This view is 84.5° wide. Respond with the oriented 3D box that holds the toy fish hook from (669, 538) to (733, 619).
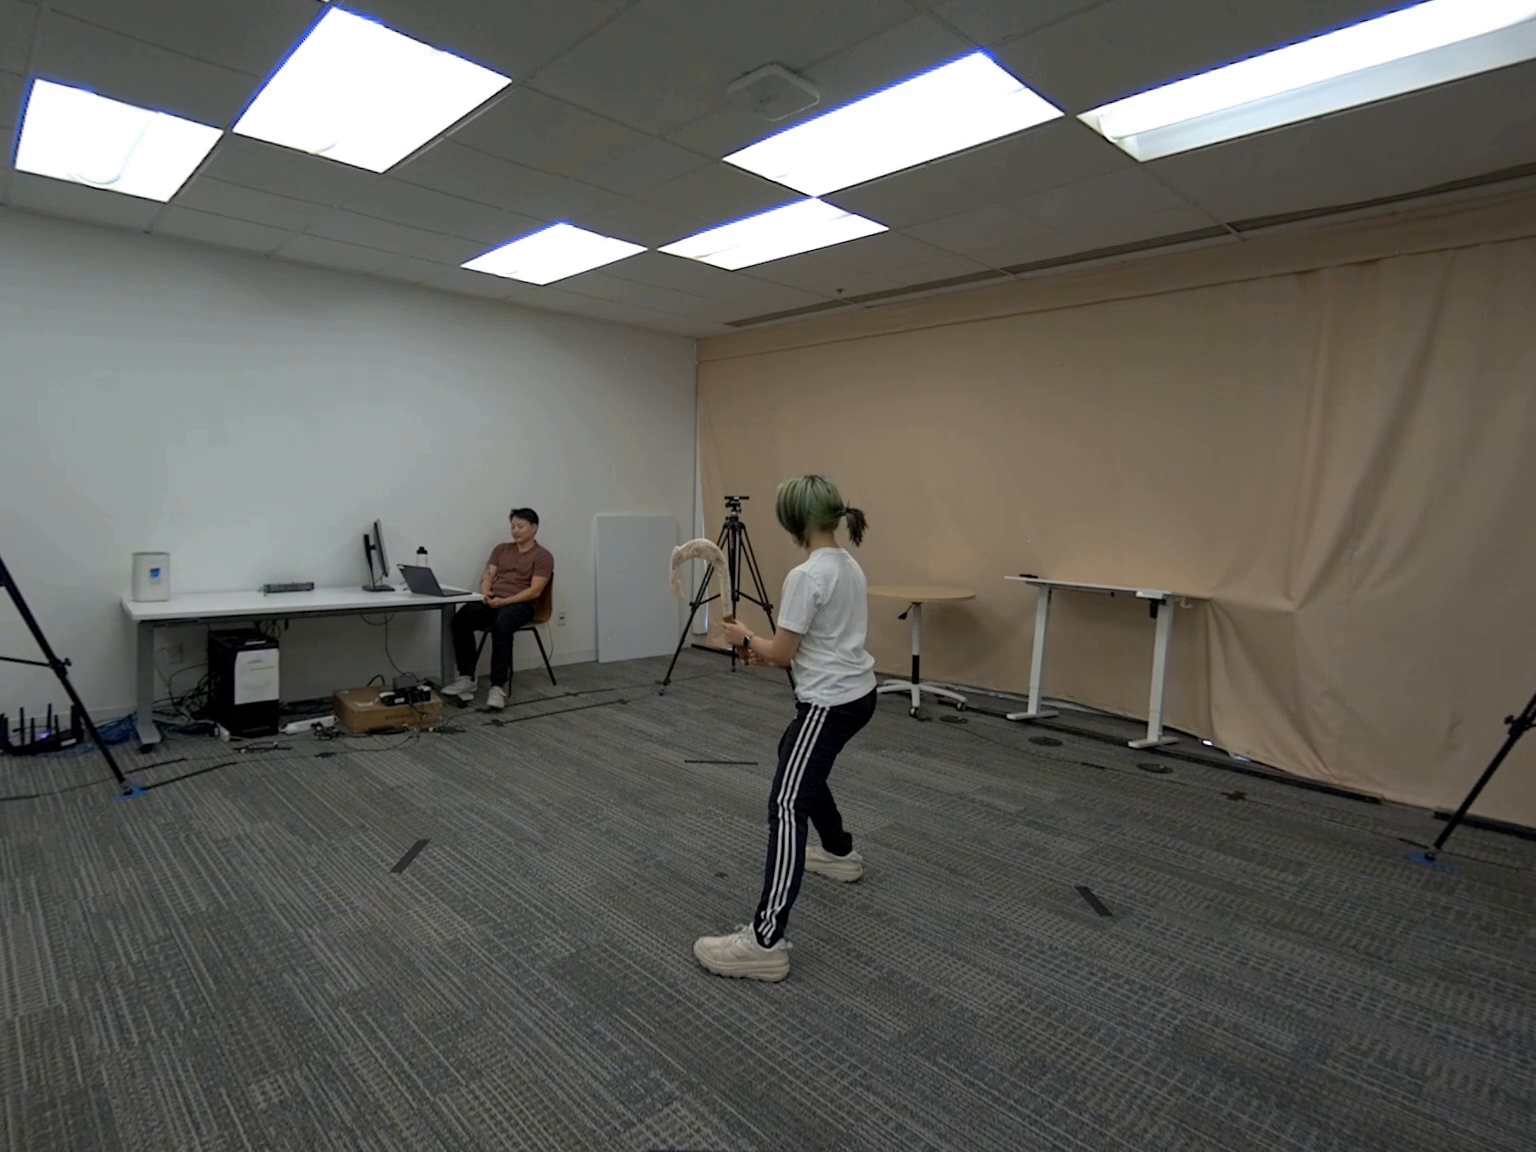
[{"bbox_3d":[-0.210,0.109,3.119,0.225,0.505,0.048,-22,3,1],"label":"toy fish hook"}]
